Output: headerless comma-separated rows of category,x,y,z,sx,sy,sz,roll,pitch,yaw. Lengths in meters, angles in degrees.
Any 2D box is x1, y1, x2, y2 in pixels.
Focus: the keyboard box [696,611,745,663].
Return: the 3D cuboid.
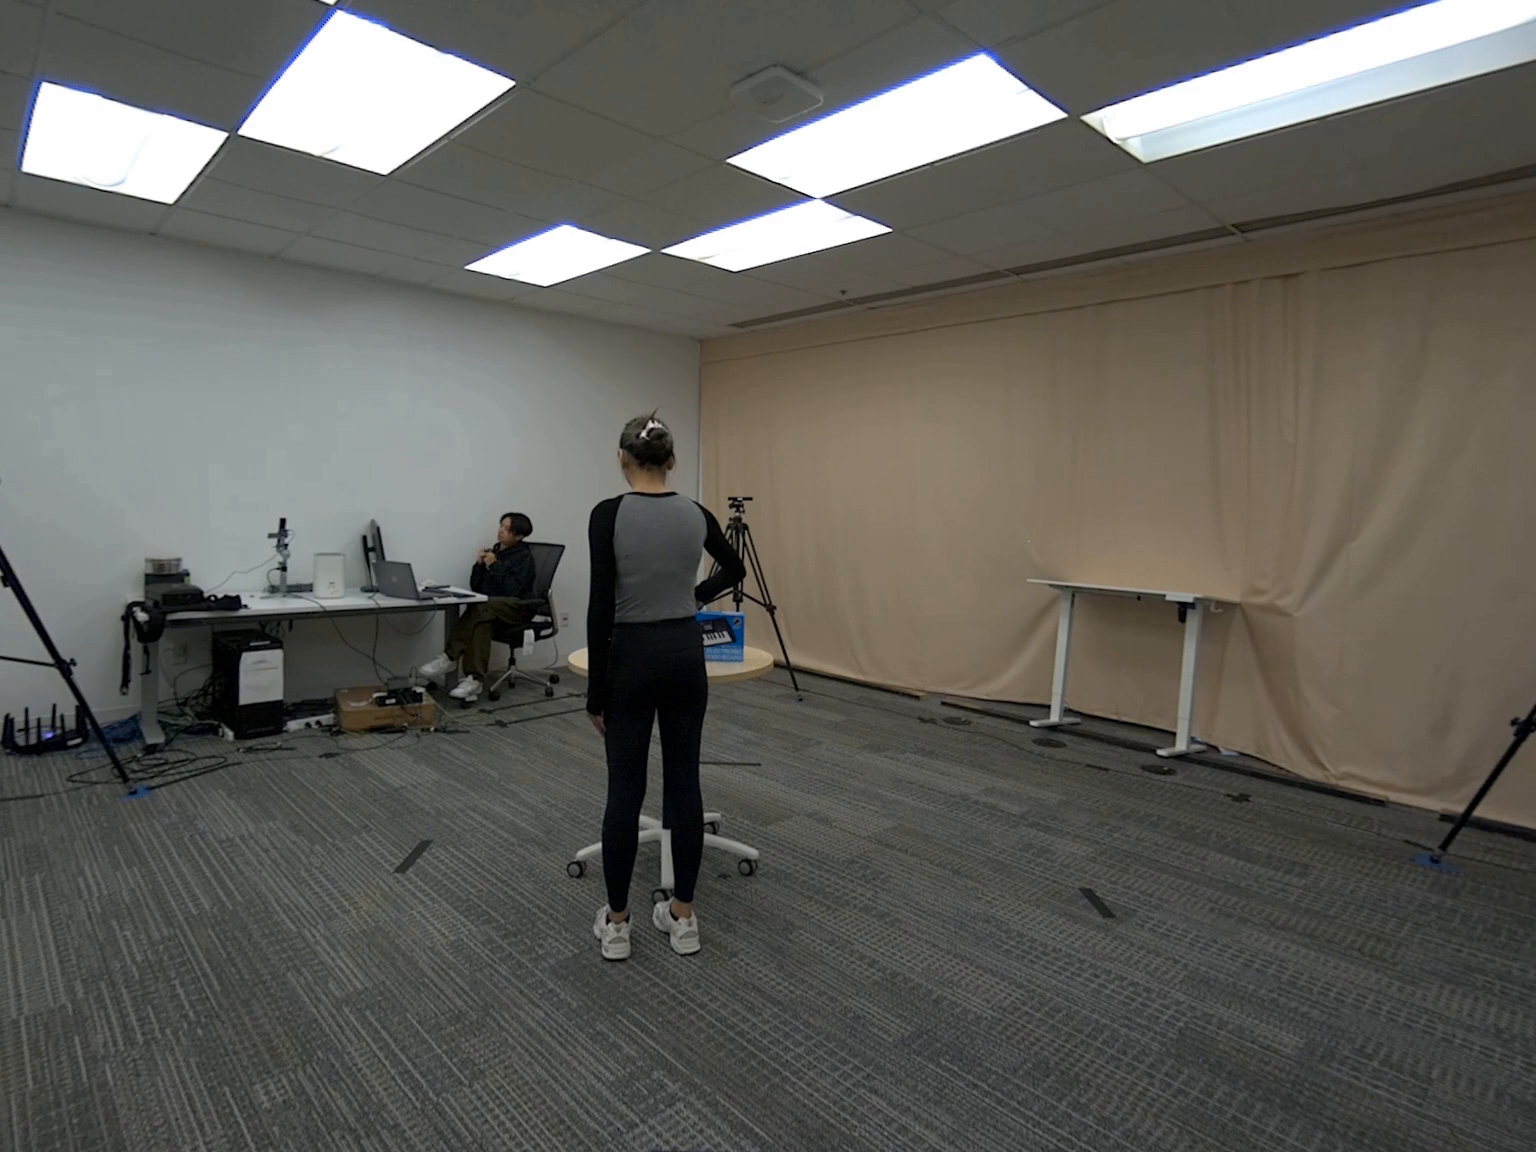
keyboard box,-0.308,0.212,3.101,0.437,0.175,0.059,1,4,2
